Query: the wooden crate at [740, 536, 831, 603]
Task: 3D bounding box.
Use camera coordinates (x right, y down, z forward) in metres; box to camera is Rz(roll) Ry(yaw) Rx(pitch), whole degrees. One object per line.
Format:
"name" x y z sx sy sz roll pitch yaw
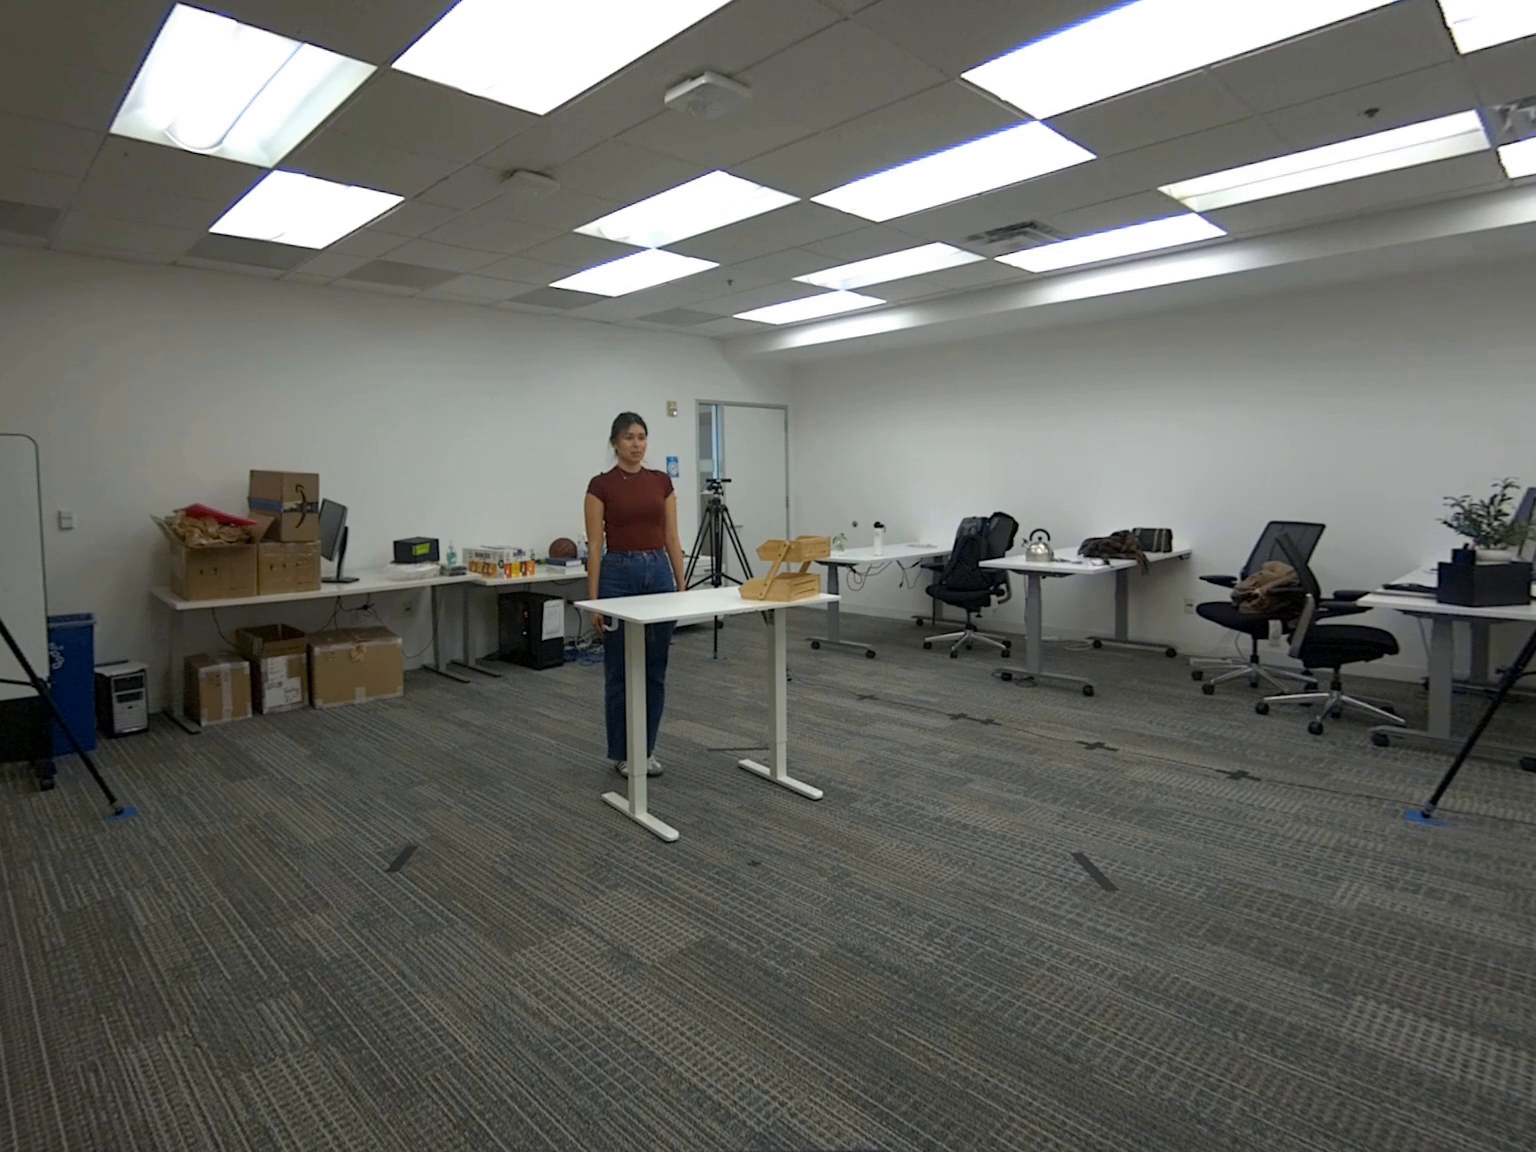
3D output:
"wooden crate" 0.075 -0.042 3.750 0.310 0.272 0.317 3 6 30
